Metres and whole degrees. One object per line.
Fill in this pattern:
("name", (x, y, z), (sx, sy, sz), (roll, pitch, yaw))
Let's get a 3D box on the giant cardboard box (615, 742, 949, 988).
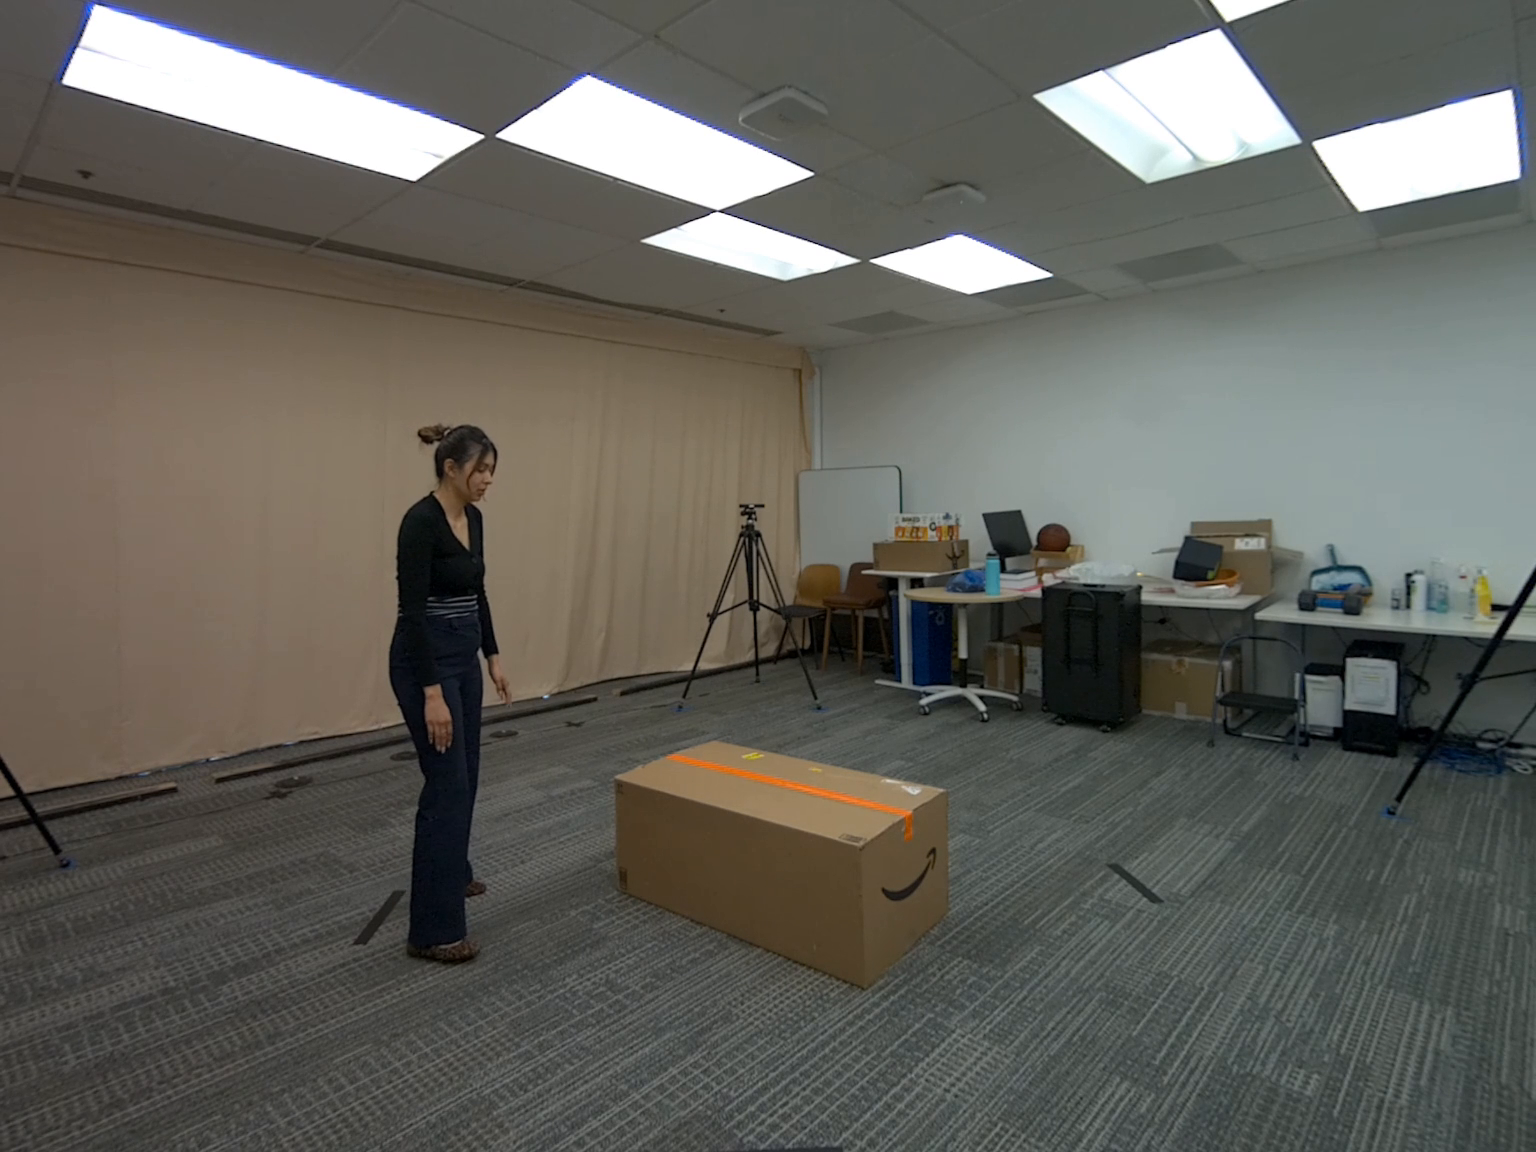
("giant cardboard box", (0.030, 0.929, 2.936), (1.059, 0.425, 0.561), (3, 7, 38))
